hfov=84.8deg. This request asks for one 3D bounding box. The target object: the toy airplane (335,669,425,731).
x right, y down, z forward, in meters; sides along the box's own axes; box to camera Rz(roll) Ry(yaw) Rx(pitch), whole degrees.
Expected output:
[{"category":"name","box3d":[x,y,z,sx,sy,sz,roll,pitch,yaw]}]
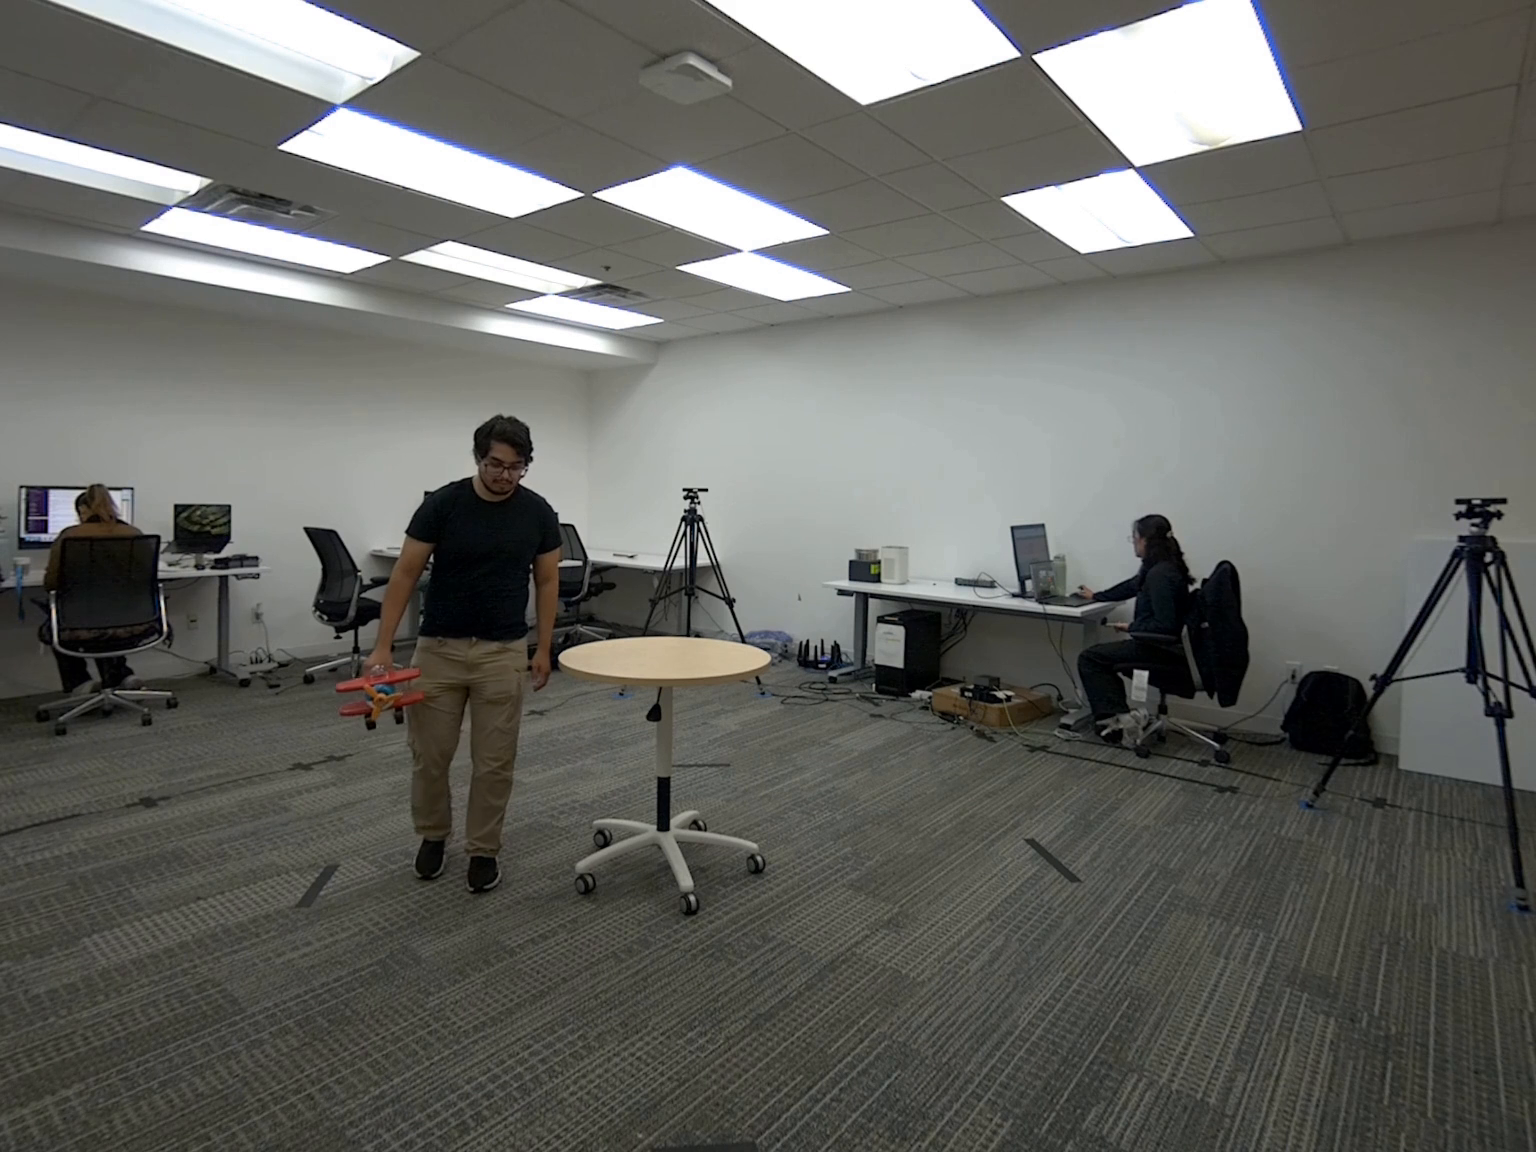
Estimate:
[{"category":"toy airplane","box3d":[-1.272,0.375,2.729,0.247,0.153,0.270,-26,35,-37]}]
